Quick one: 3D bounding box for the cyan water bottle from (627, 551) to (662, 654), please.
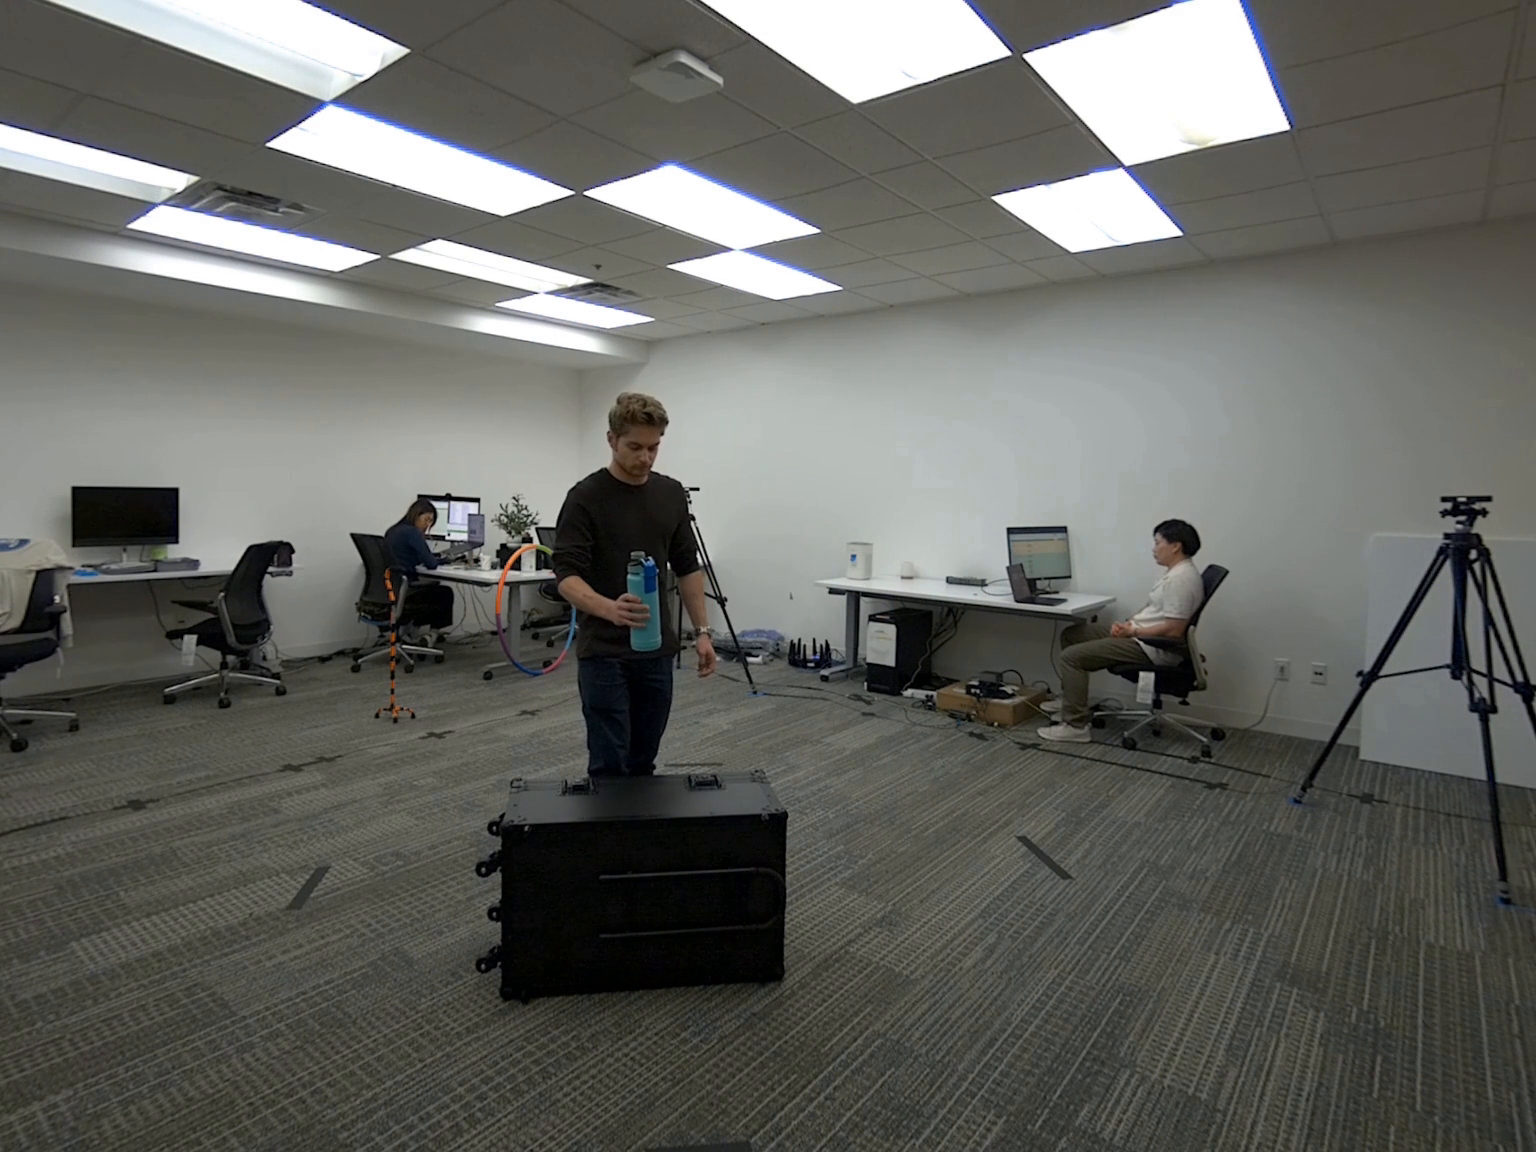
[{"bbox_3d":[-0.381,0.069,2.496,0.092,0.280,0.093,0,13,-2],"label":"cyan water bottle"}]
